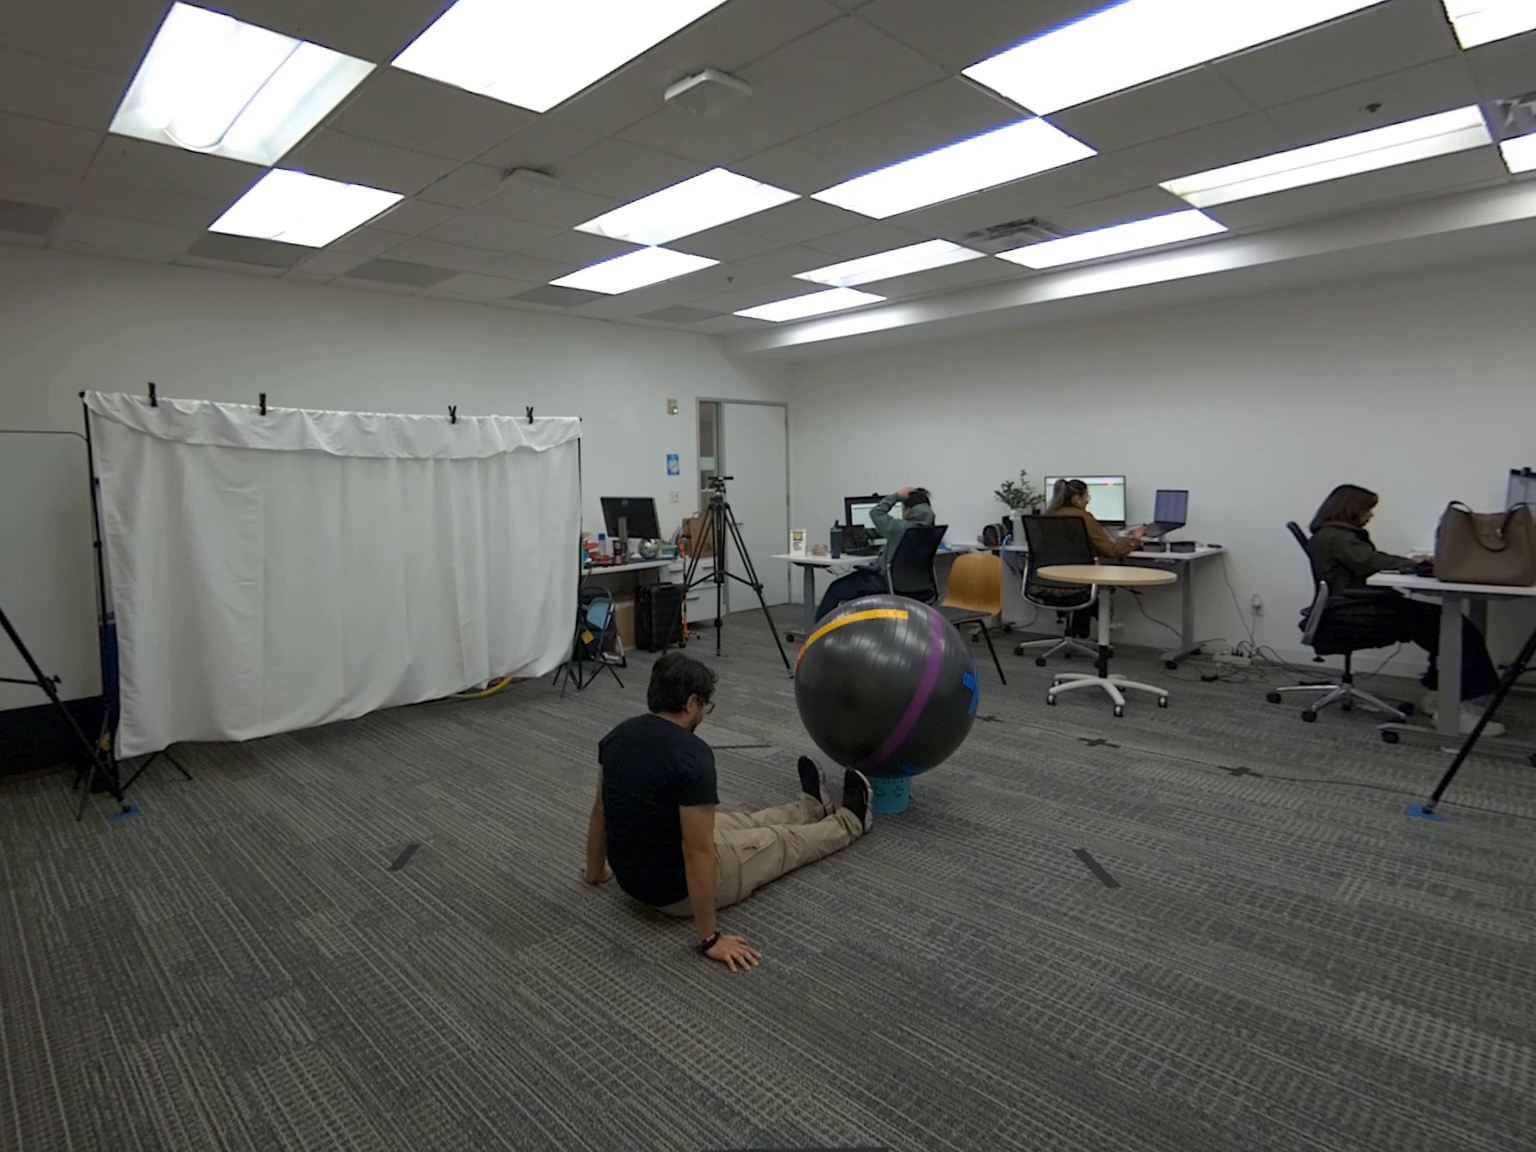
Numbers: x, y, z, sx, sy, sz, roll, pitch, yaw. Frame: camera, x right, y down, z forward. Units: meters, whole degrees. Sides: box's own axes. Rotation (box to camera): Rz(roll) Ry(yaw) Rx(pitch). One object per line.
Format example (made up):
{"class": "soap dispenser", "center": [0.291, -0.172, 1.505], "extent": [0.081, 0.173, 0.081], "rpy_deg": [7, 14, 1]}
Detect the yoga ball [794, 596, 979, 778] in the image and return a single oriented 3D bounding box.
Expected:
{"class": "yoga ball", "center": [0.493, 0.464, 3.586], "extent": [0.757, 0.755, 0.762], "rpy_deg": [-1, 5, -2]}
